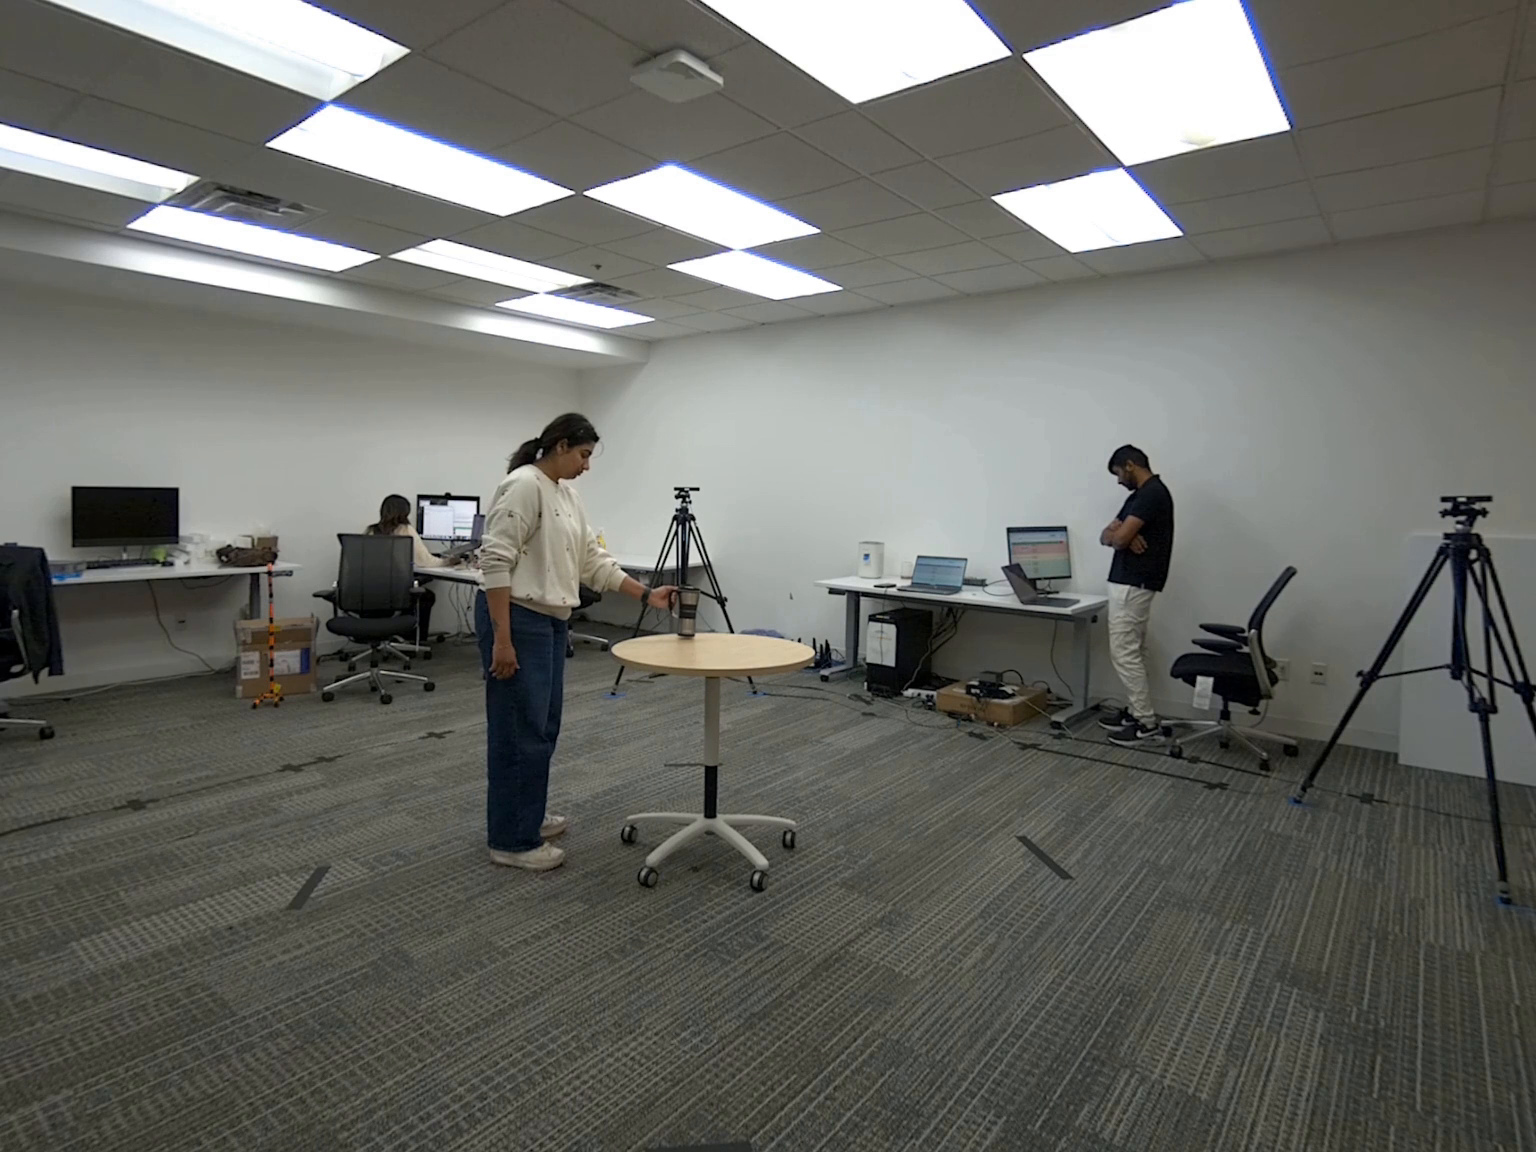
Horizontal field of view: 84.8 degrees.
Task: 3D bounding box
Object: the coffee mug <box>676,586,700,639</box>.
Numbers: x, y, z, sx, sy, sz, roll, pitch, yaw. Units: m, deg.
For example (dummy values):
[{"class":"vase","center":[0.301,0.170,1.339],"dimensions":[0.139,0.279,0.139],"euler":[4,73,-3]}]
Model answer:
[{"class":"coffee mug","center":[-0.360,0.147,3.472],"dimensions":[0.126,0.202,0.085],"euler":[3,6,38]}]
